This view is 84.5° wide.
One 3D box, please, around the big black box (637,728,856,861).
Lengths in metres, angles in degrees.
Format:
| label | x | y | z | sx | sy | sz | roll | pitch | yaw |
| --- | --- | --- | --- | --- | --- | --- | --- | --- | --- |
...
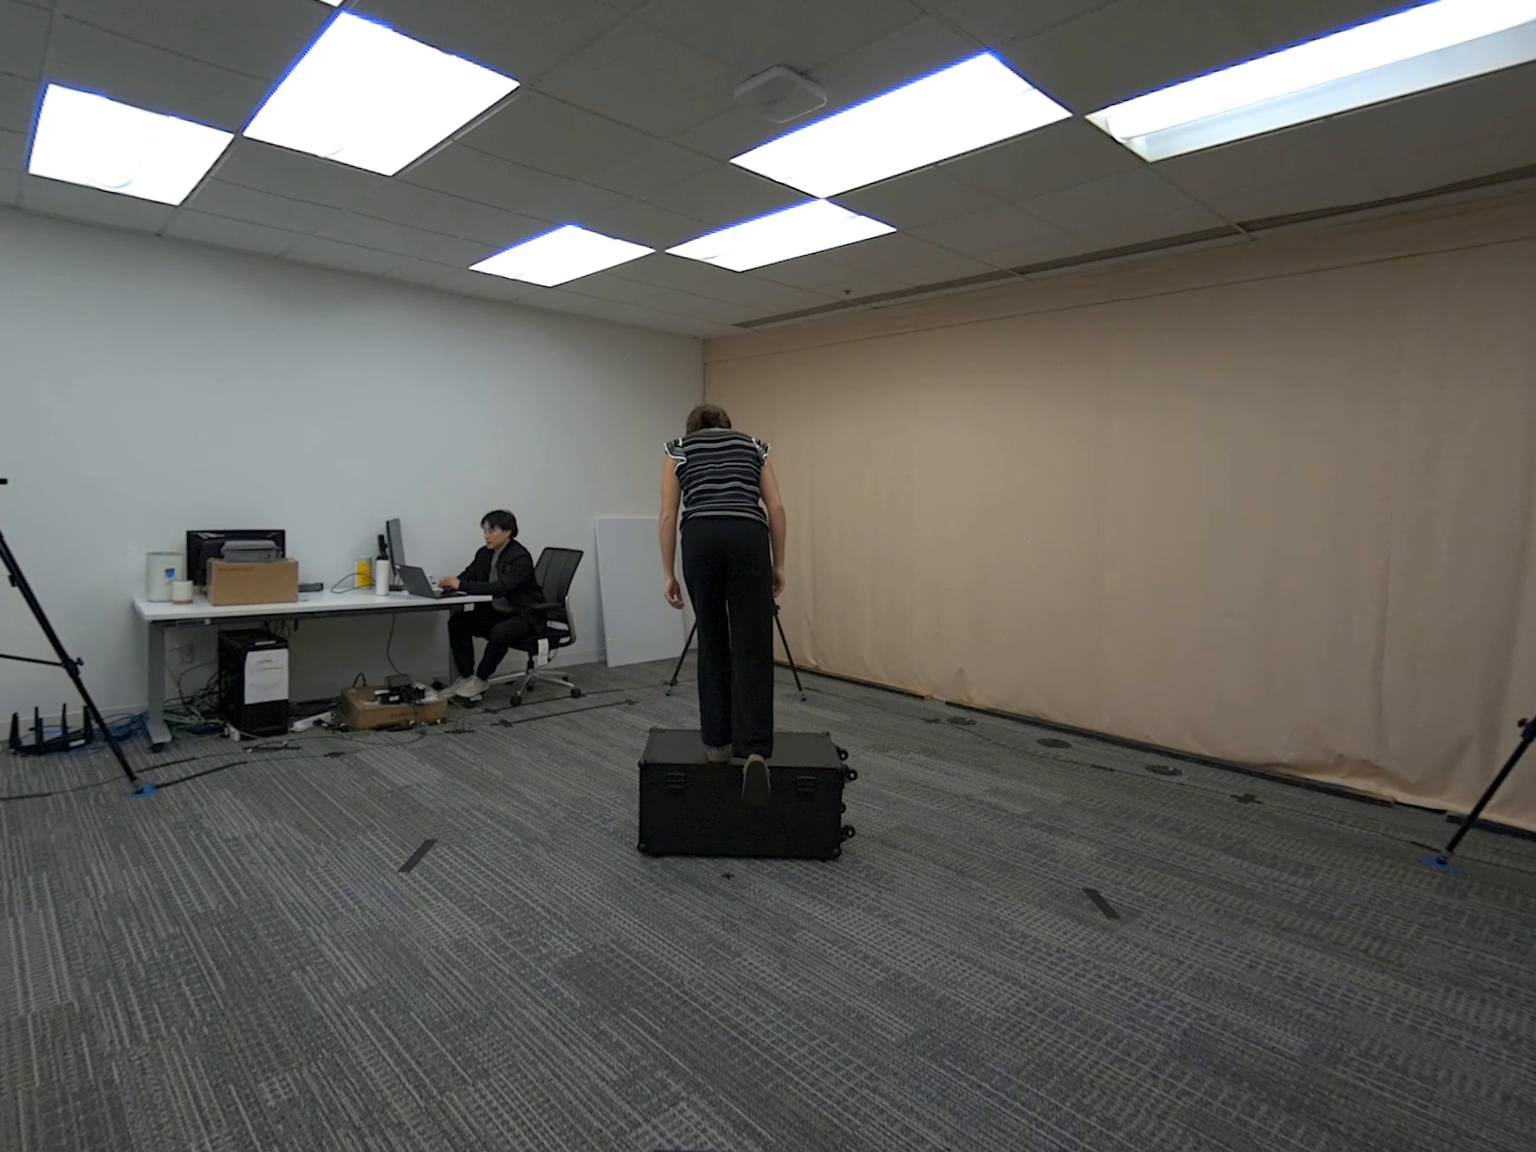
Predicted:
| label | x | y | z | sx | sy | sz | roll | pitch | yaw |
| --- | --- | --- | --- | --- | --- | --- | --- | --- | --- |
| big black box | -0.092 | 0.884 | 3.464 | 0.861 | 0.395 | 0.523 | 1 | 5 | -1 |
